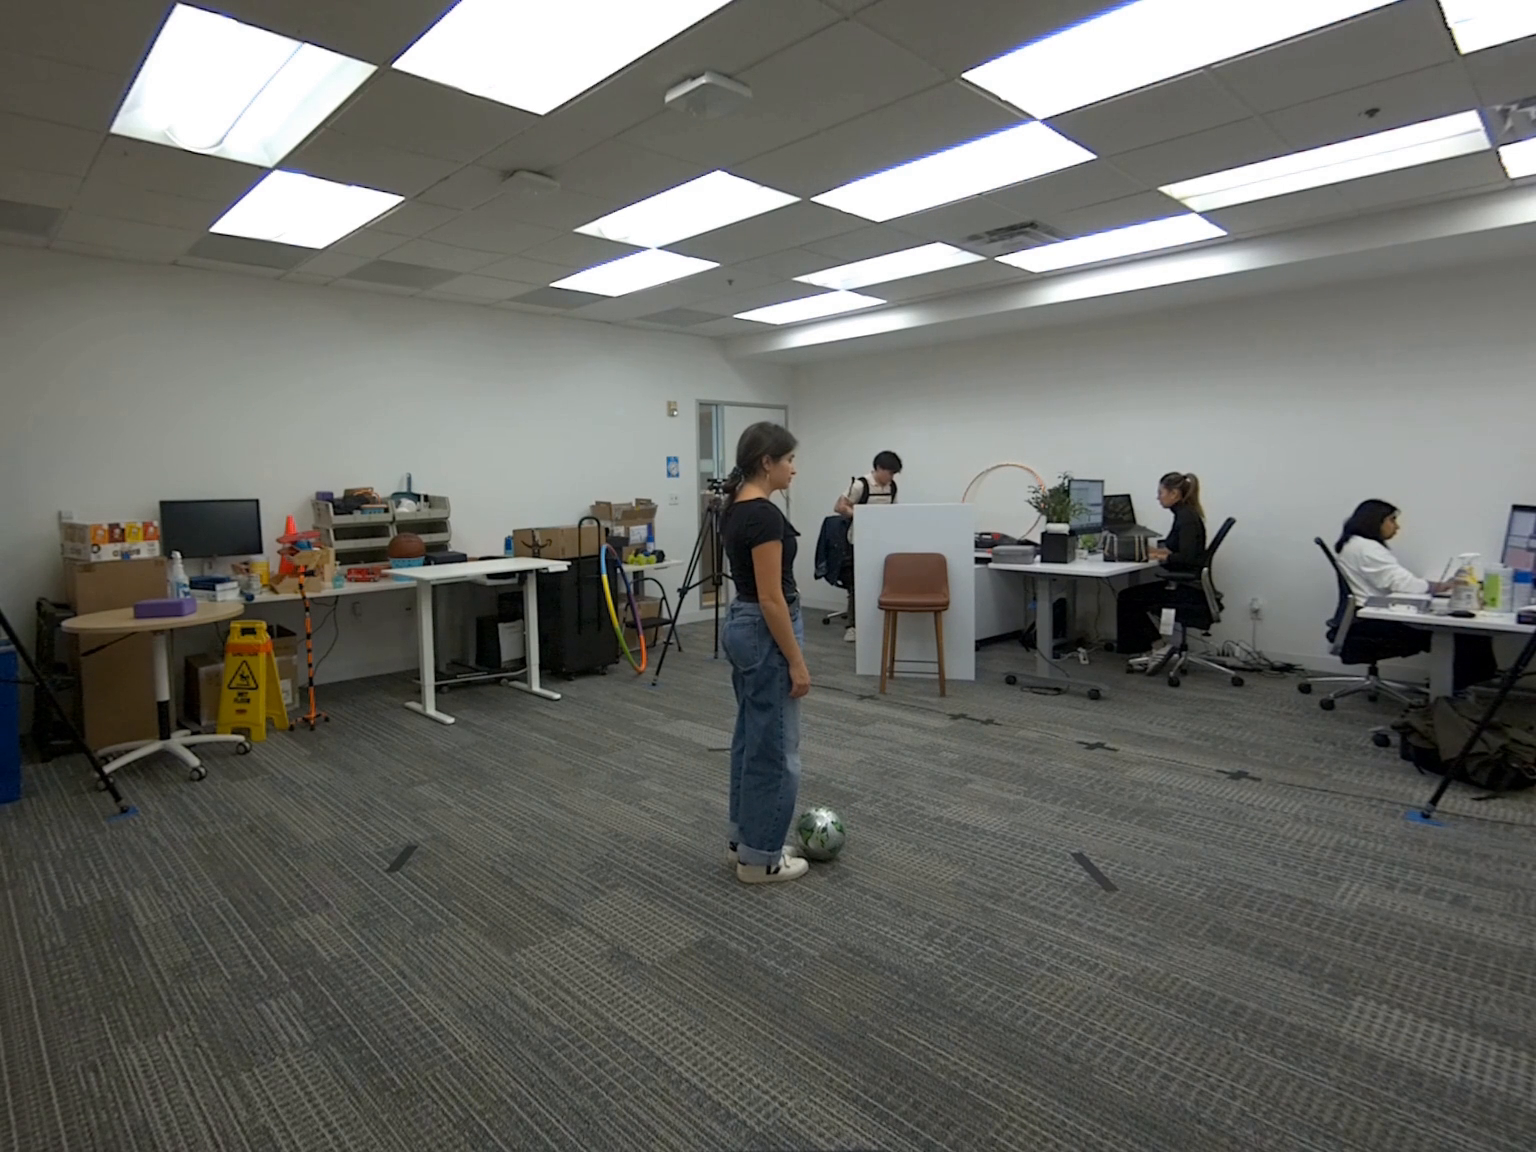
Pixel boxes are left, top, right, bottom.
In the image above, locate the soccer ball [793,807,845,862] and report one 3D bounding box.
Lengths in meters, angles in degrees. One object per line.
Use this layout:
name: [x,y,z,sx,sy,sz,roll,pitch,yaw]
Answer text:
soccer ball: [0.189,0.939,3.133,0.187,0.187,0.188,-1,5,-2]
